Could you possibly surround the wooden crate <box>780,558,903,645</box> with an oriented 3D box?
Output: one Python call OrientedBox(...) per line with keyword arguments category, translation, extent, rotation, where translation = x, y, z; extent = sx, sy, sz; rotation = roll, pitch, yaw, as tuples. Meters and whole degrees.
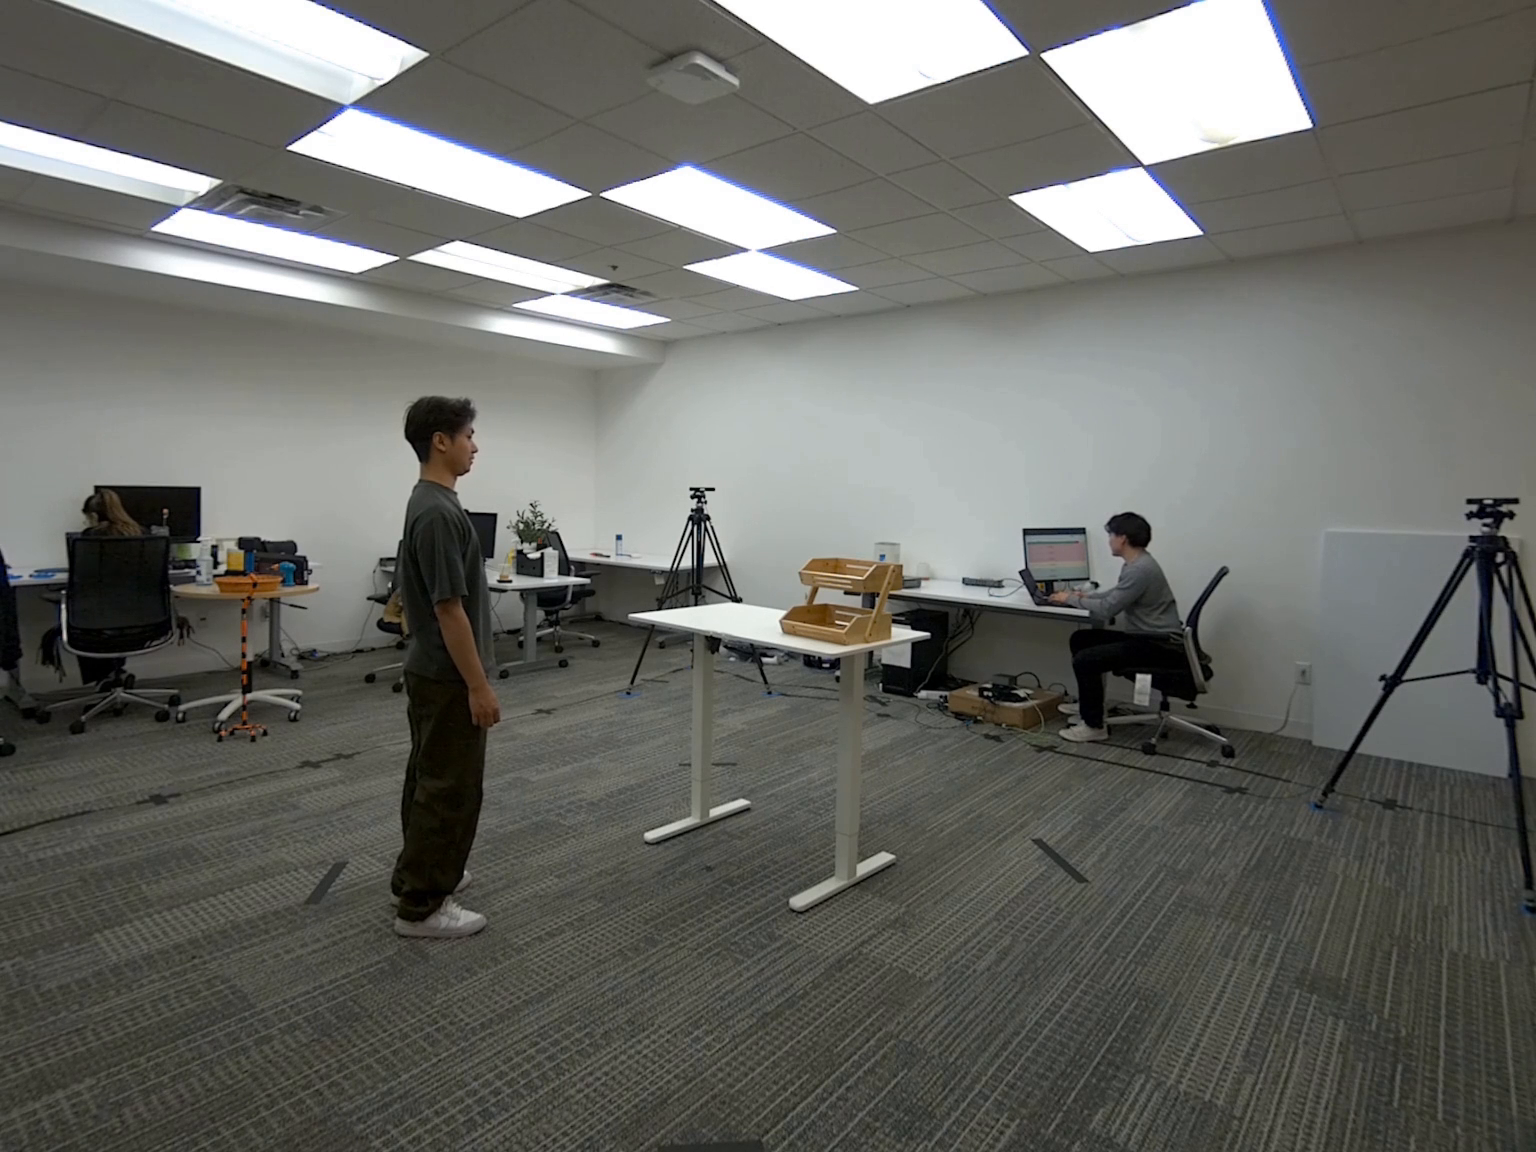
OrientedBox(category="wooden crate", translation=(0.245, 0.078, 2.987), extent=(0.293, 0.272, 0.336), rotation=(-3, 7, -43))
